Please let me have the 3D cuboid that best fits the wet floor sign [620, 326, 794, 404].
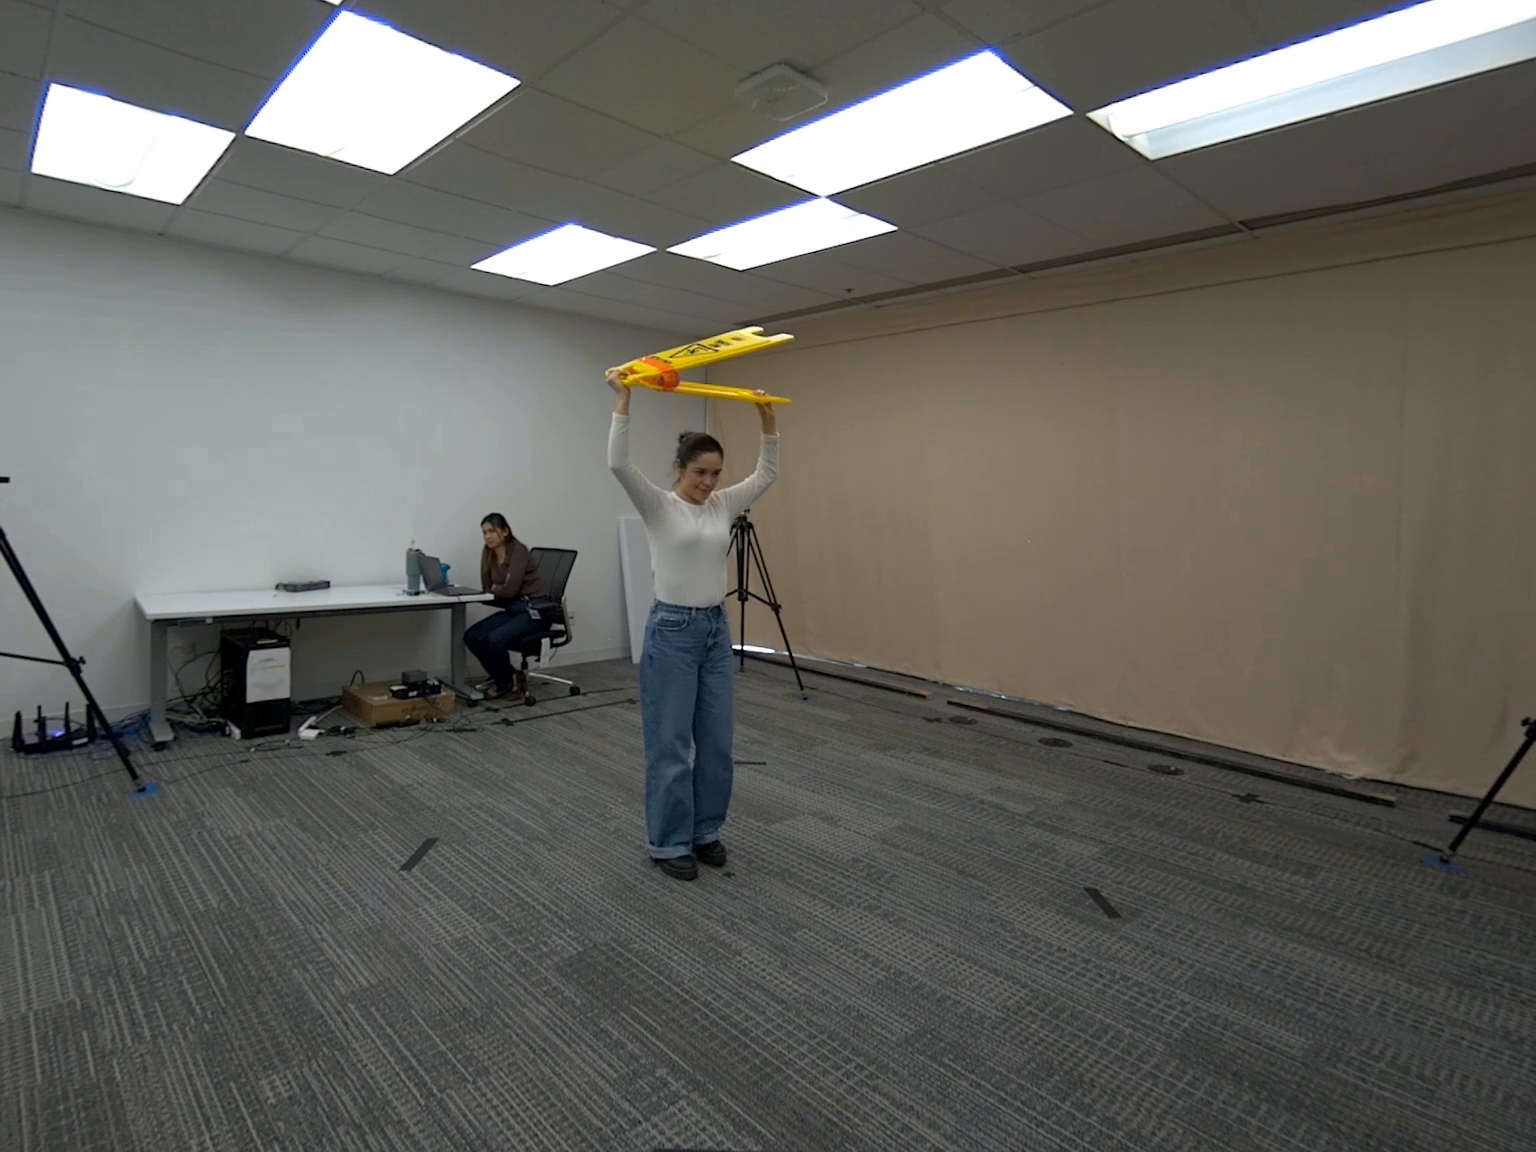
[{"bbox_3d":[-0.265,-0.739,3.041,0.635,0.285,0.291,-13,27,-32],"label":"wet floor sign"}]
